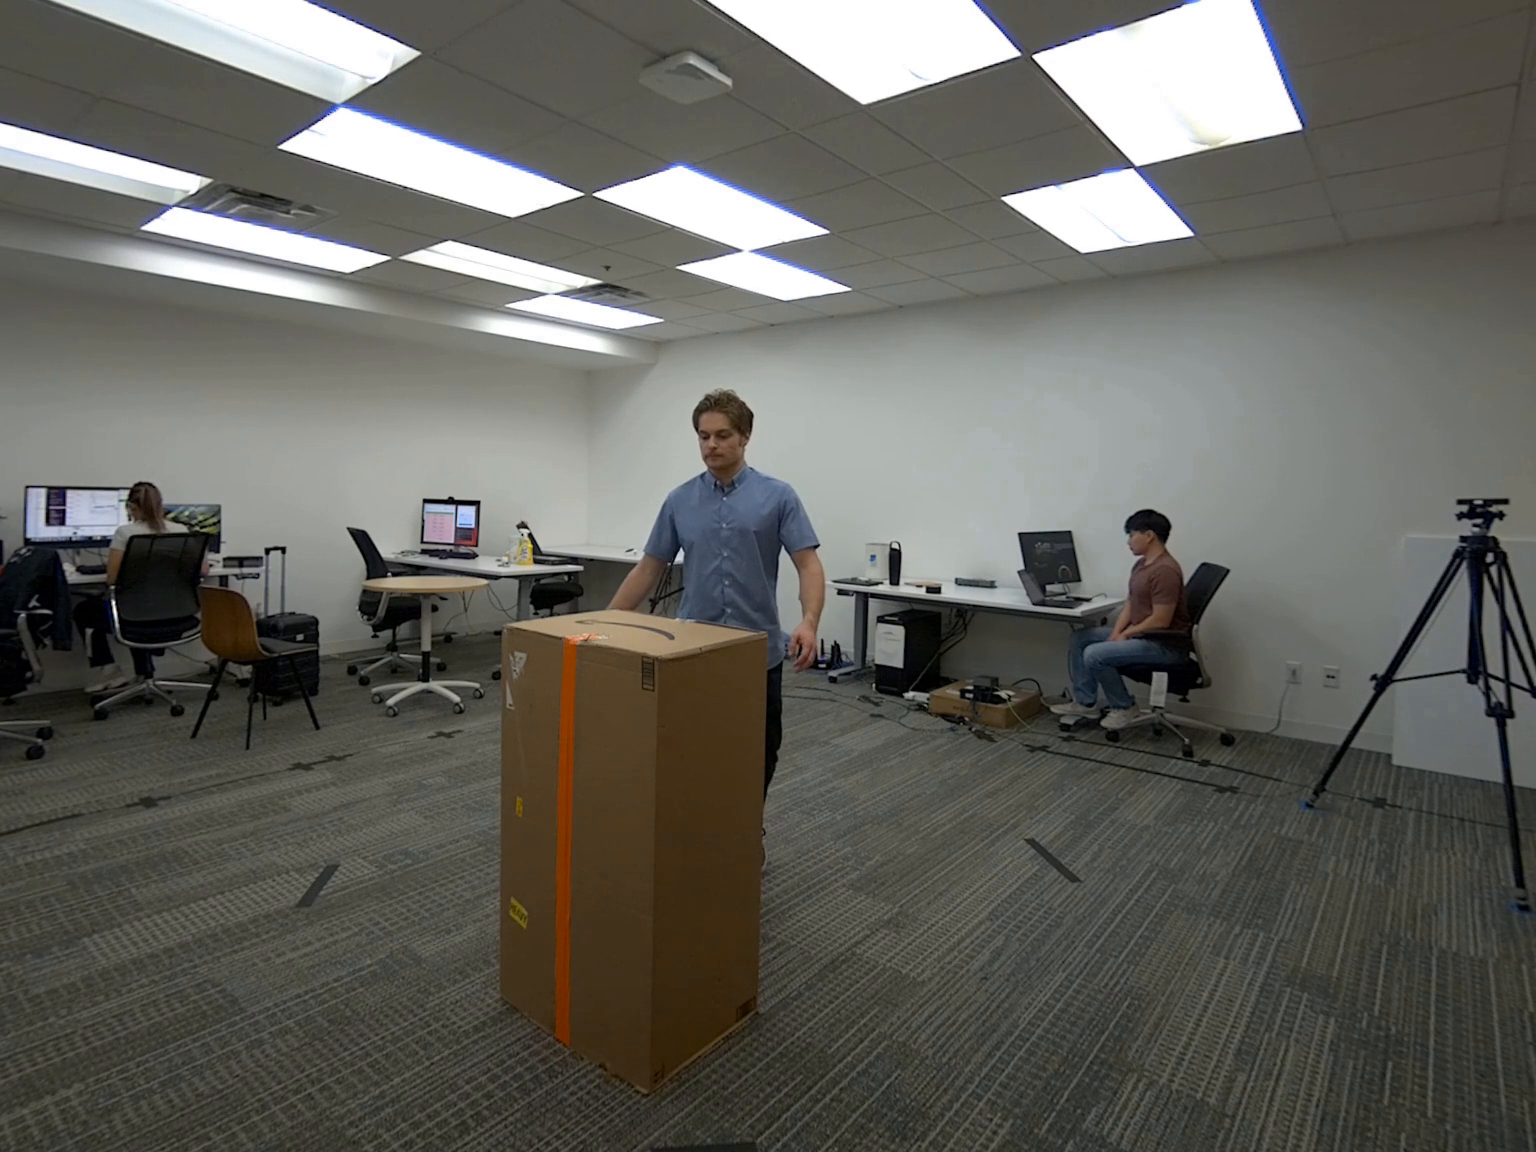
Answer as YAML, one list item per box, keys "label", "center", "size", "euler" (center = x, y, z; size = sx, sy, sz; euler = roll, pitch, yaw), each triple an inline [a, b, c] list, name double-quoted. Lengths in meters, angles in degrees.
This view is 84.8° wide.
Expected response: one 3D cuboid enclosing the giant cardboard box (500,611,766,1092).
- label: "giant cardboard box"
  center: [-0.376, 0.647, 2.247]
  size: [0.597, 1.022, 0.414]
  euler: [4, 5, 39]
